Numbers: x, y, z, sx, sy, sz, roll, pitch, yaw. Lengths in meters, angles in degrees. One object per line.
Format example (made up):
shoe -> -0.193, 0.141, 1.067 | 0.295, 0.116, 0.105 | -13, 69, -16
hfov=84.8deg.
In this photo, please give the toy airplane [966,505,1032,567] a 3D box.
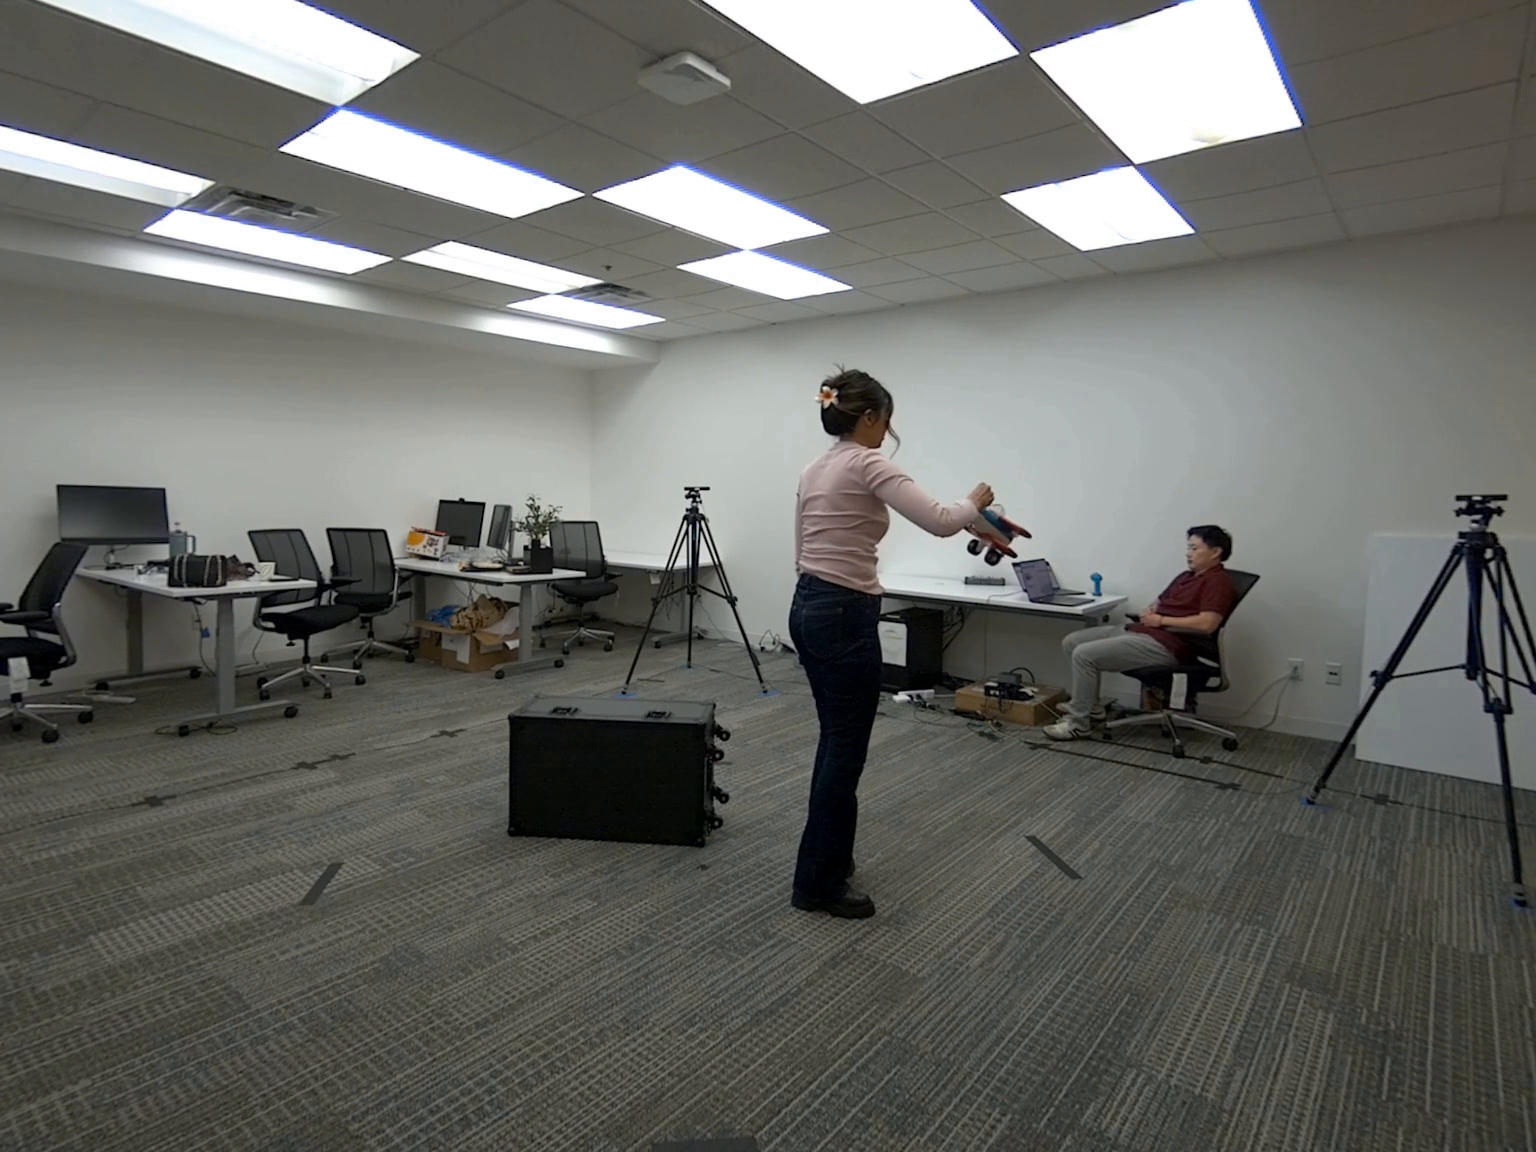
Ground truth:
toy airplane -> 0.727, -0.163, 2.817 | 0.259, 0.156, 0.251 | 45, -5, 24
